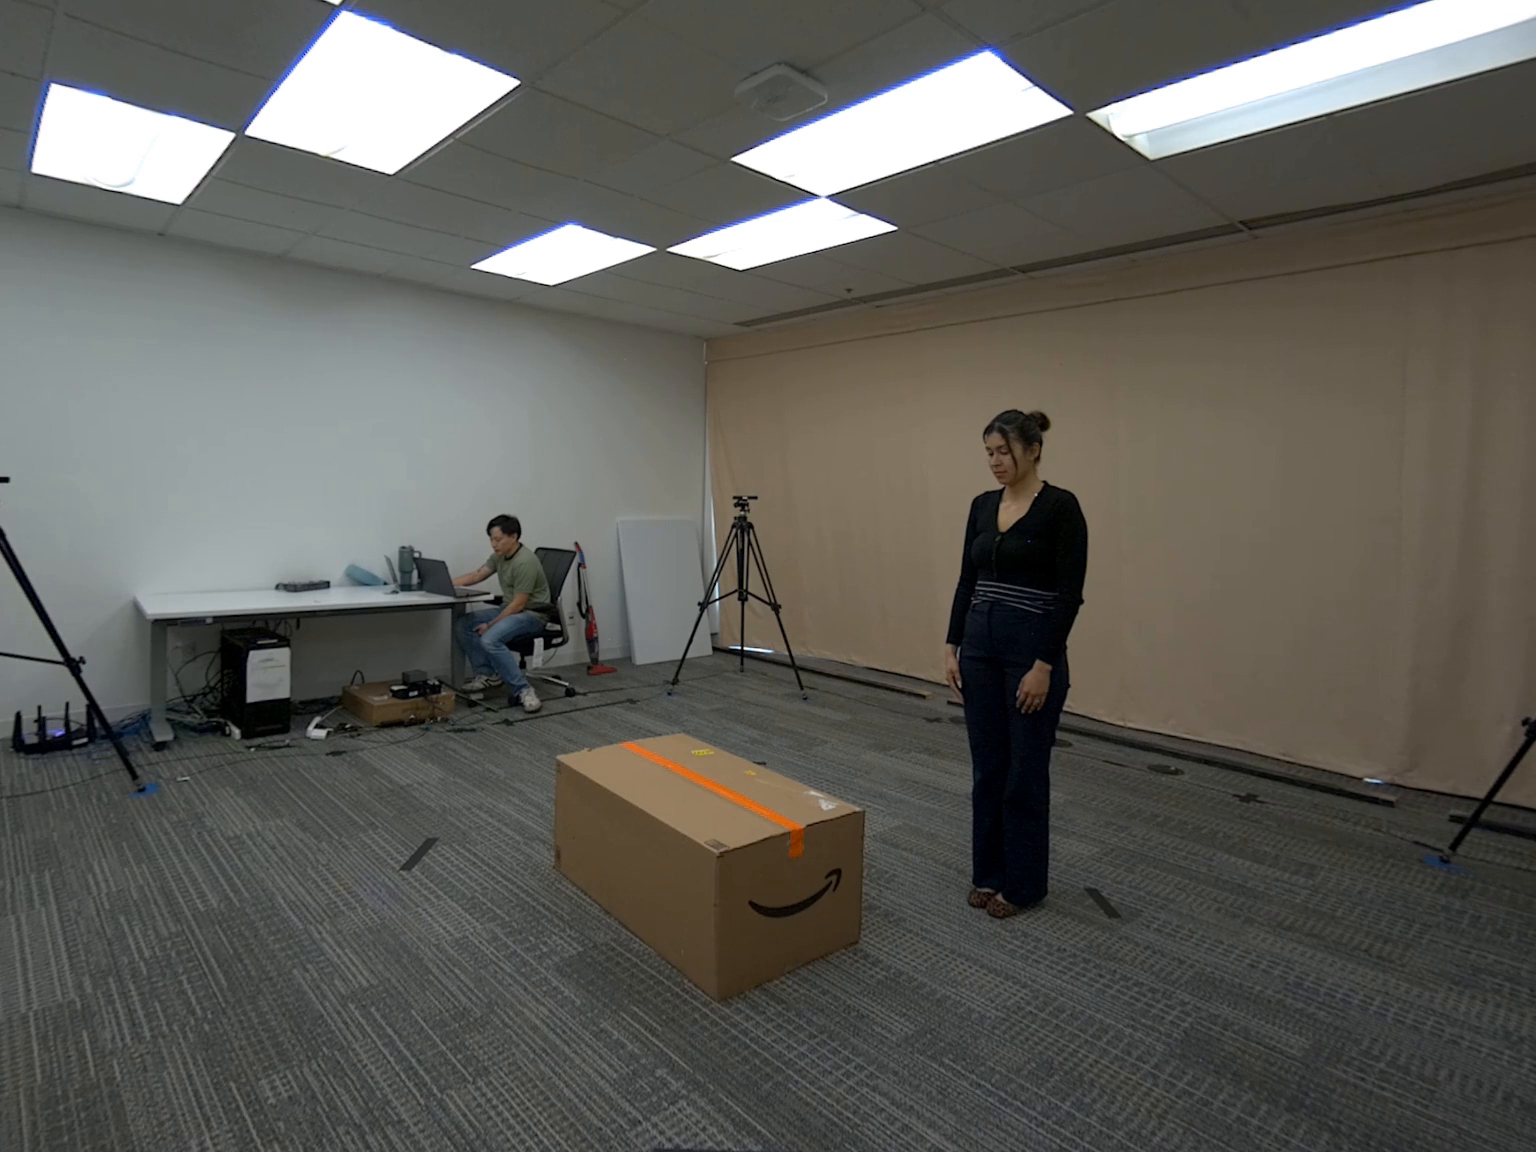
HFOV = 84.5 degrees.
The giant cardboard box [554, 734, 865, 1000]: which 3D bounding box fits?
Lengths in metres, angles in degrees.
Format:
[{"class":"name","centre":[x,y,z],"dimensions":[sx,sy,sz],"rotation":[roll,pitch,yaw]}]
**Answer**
[{"class":"giant cardboard box","centre":[-0.252,0.909,2.874],"dimensions":[0.564,0.425,1.052],"rotation":[-1,6,-39]}]
